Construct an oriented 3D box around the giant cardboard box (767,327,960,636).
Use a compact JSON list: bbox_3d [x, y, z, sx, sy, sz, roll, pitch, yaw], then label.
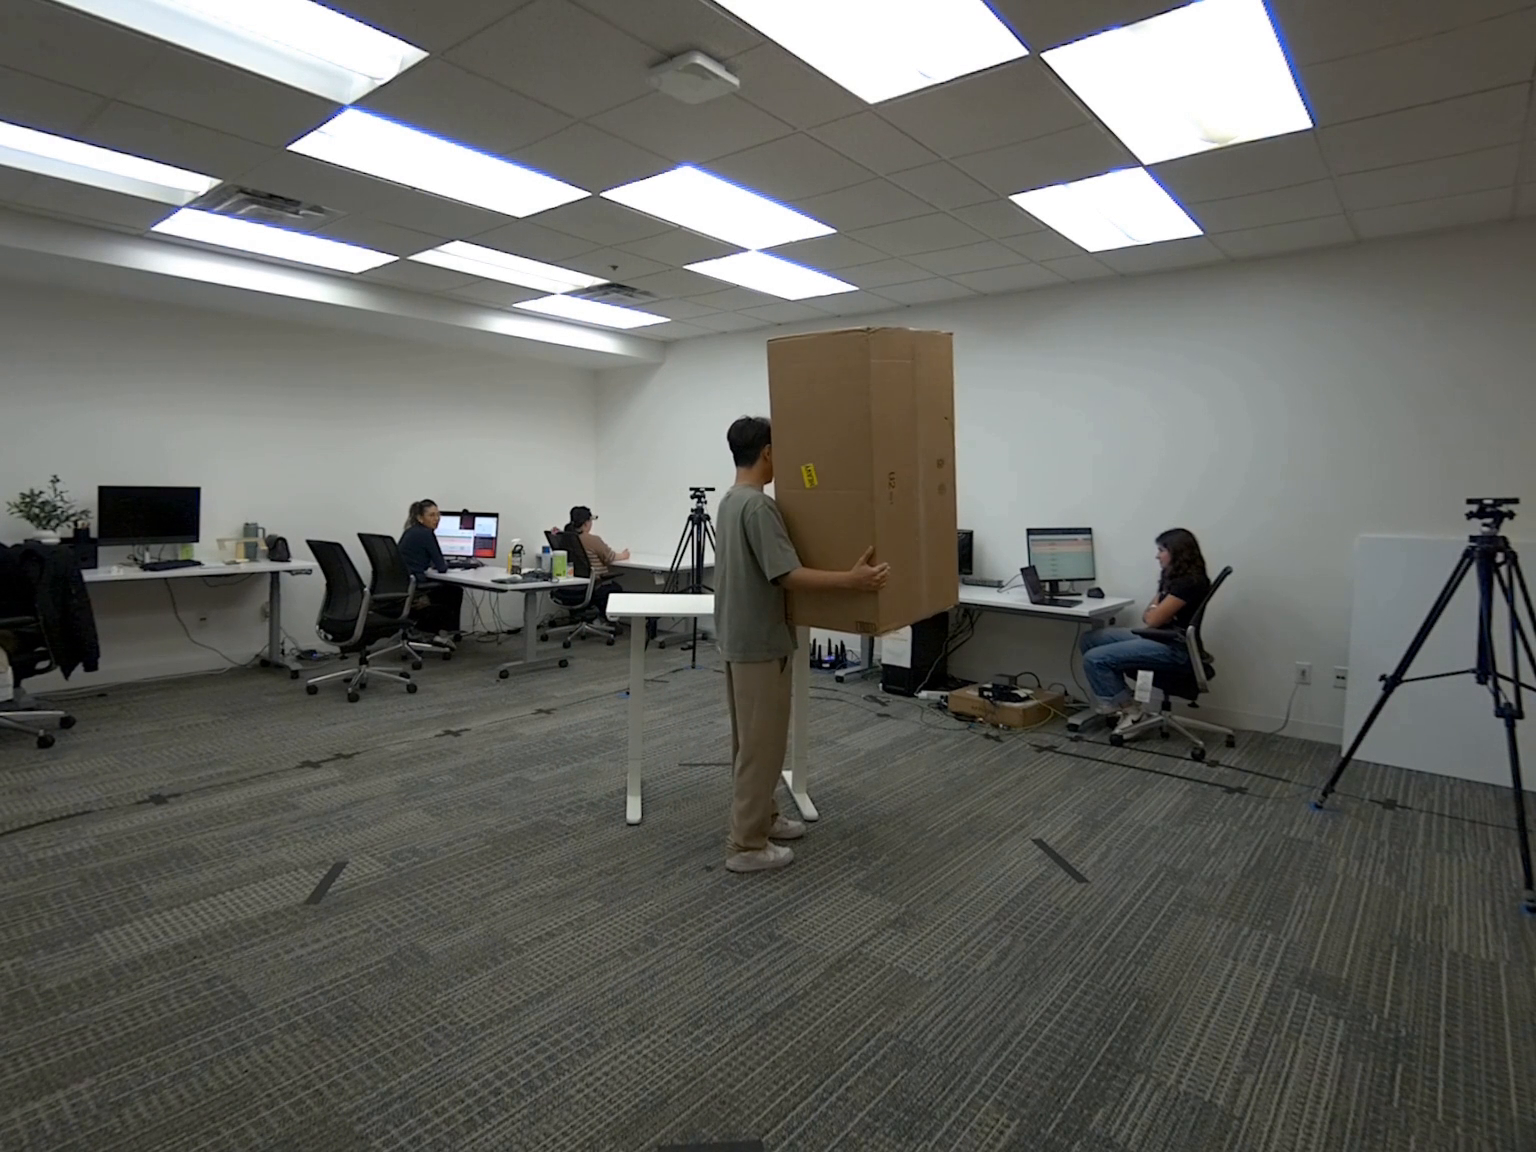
[{"bbox_3d":[0.350,-0.361,3.117,0.441,1.017,0.563,4,11,40],"label":"giant cardboard box"}]
